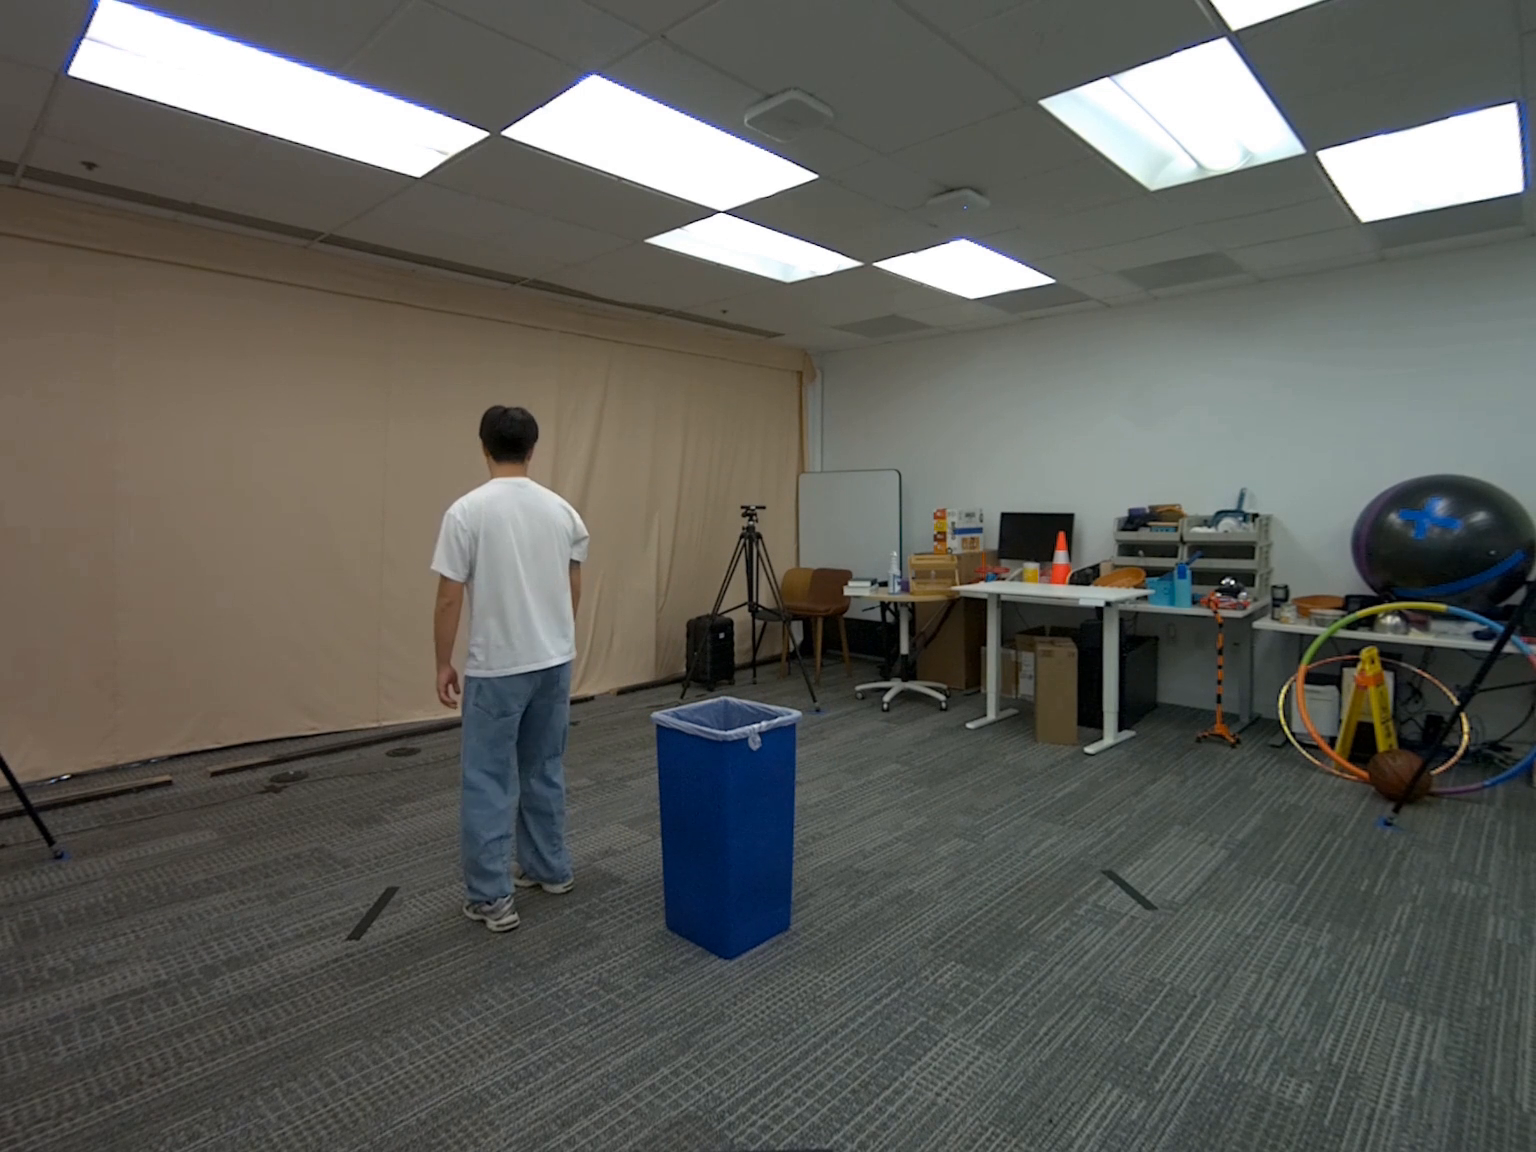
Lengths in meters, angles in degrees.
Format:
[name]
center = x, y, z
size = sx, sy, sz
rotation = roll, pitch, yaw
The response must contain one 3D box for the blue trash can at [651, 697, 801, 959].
[blue trash can]
center = -0.138, 0.805, 2.766
size = 0.386, 0.712, 0.366
rotation = 3, 4, 44
